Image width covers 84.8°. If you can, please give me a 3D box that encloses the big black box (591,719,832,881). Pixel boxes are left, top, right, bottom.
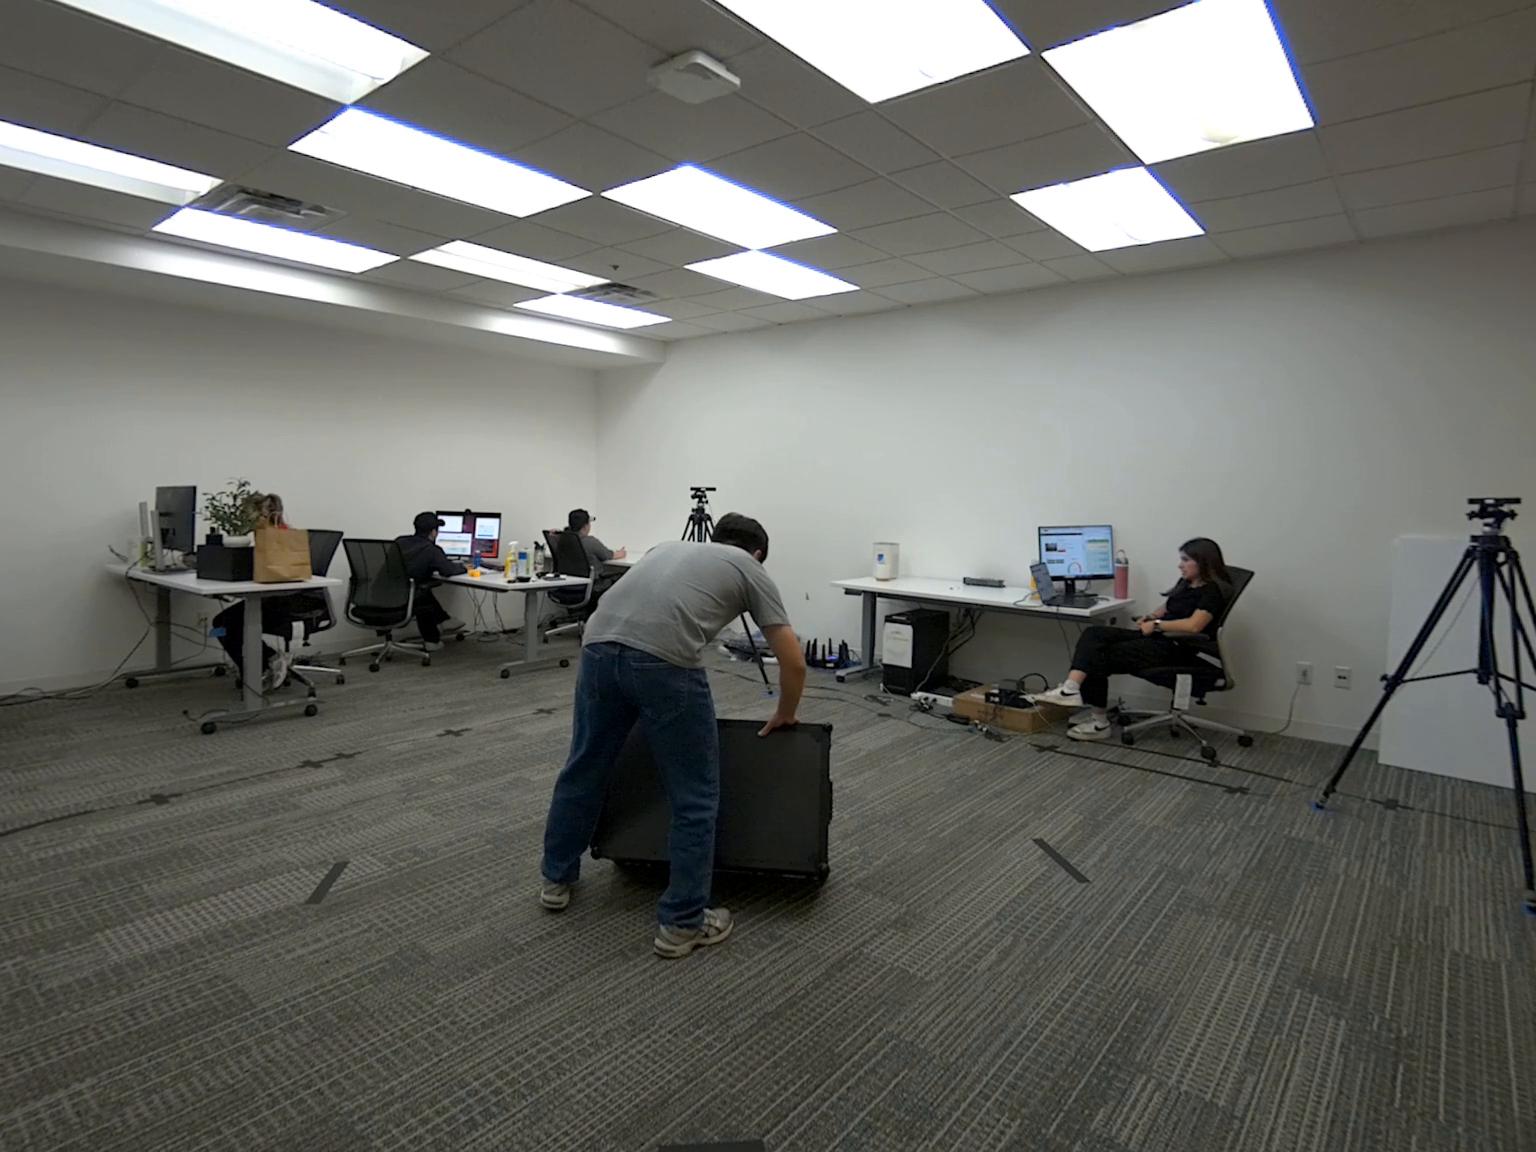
[{"bbox_3d":[-0.212,0.773,3.049,0.868,0.531,0.386,1,-22,6],"label":"big black box"}]
